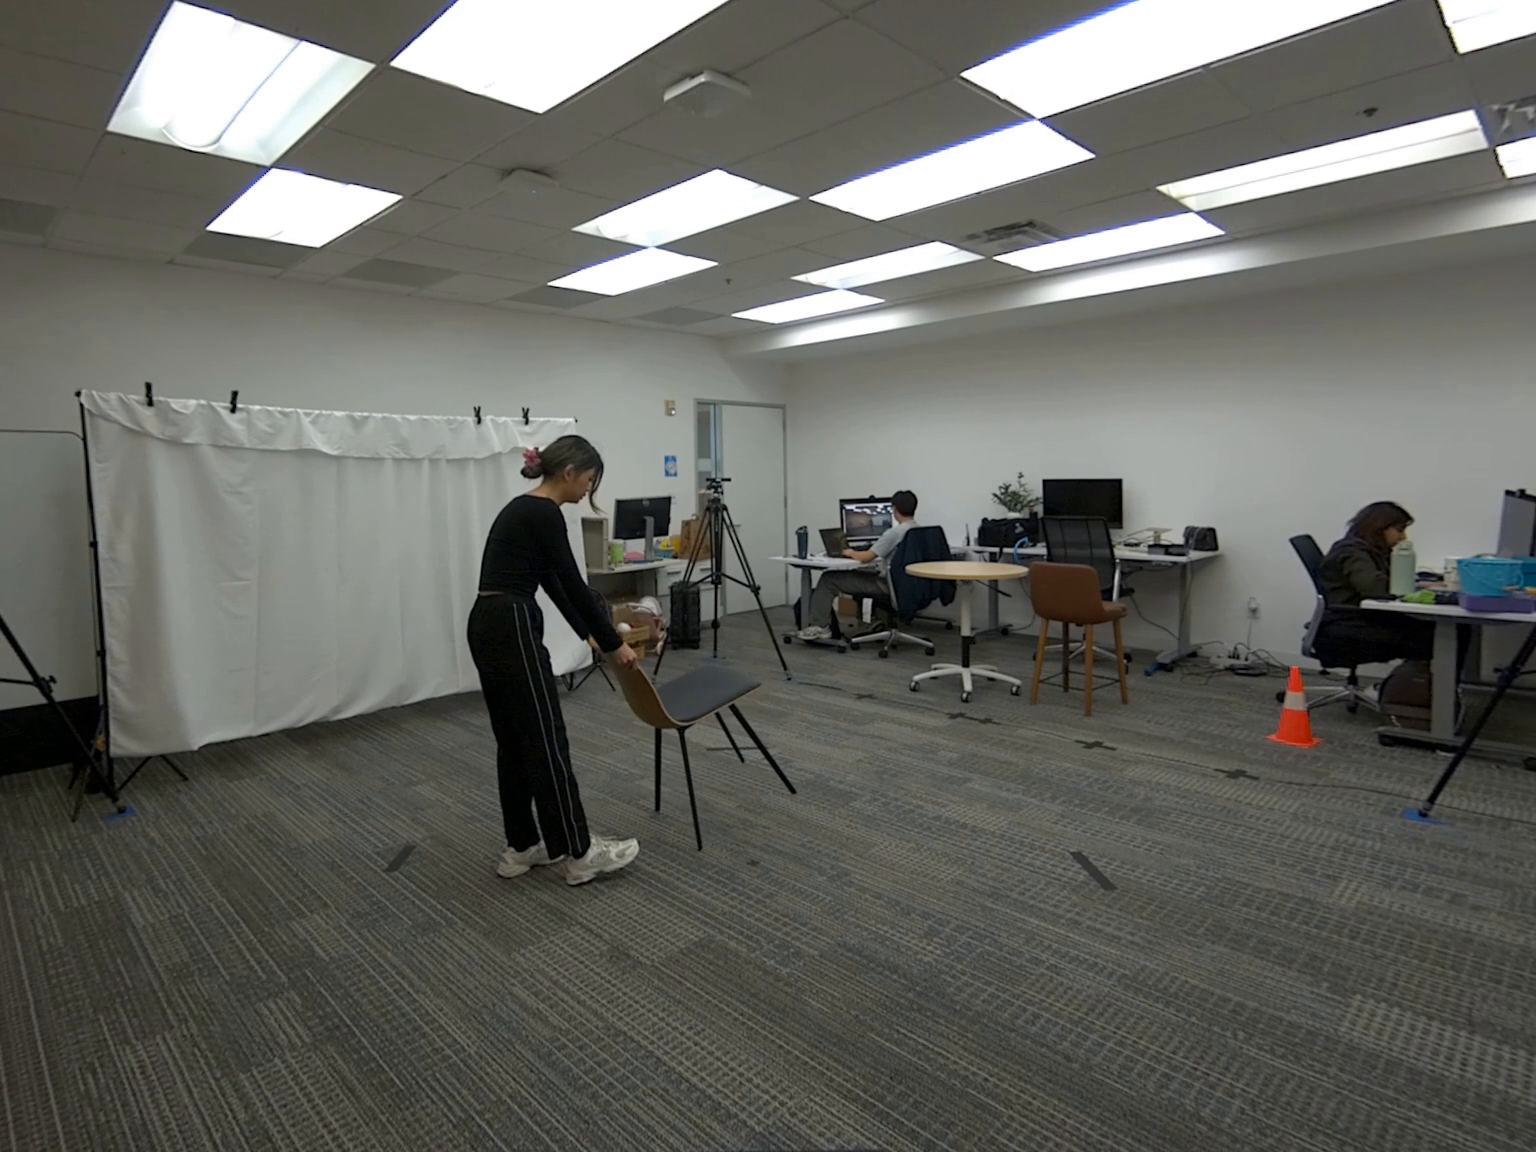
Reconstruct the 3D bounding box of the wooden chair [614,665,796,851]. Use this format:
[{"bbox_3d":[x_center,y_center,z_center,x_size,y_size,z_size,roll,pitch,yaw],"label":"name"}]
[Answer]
[{"bbox_3d":[-0.302,0.531,3.417,0.518,0.863,0.490,-28,15,-24],"label":"wooden chair"}]
